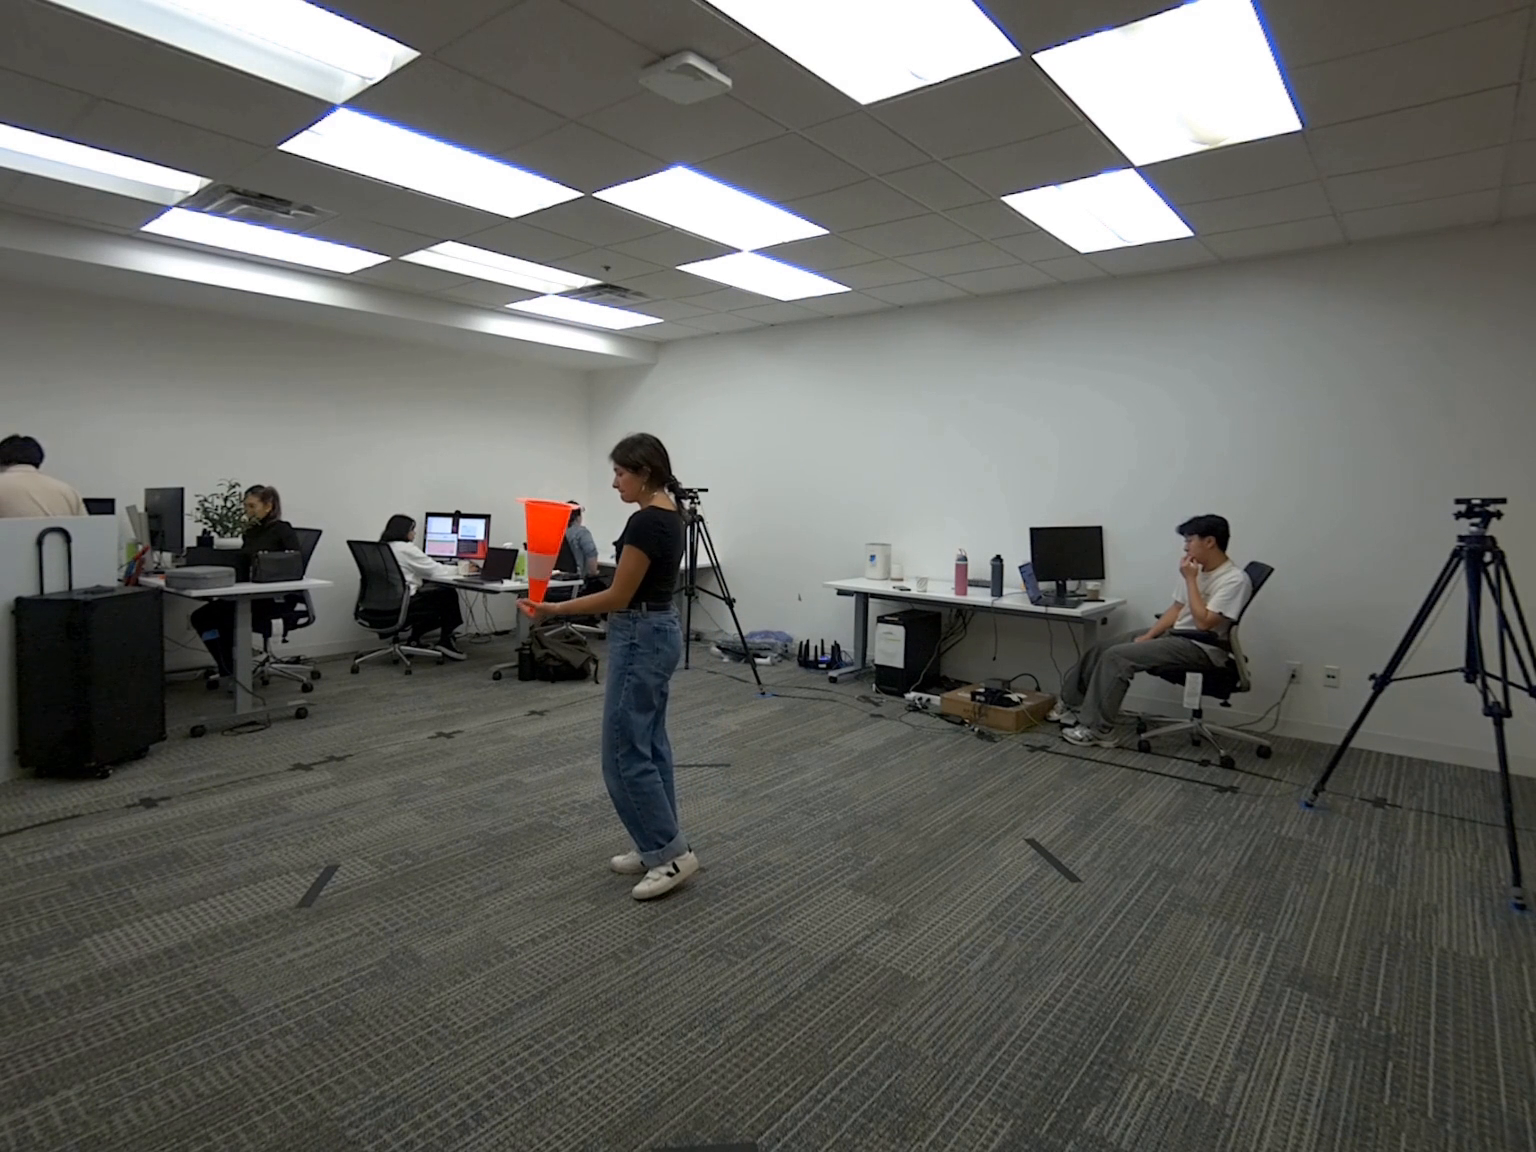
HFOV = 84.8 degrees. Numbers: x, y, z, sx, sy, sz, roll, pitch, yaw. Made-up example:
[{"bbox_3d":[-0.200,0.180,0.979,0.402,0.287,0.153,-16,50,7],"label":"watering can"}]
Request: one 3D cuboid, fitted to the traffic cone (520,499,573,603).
[{"bbox_3d":[-0.774,-0.061,2.898,0.205,0.382,0.204,10,5,0],"label":"traffic cone"}]
